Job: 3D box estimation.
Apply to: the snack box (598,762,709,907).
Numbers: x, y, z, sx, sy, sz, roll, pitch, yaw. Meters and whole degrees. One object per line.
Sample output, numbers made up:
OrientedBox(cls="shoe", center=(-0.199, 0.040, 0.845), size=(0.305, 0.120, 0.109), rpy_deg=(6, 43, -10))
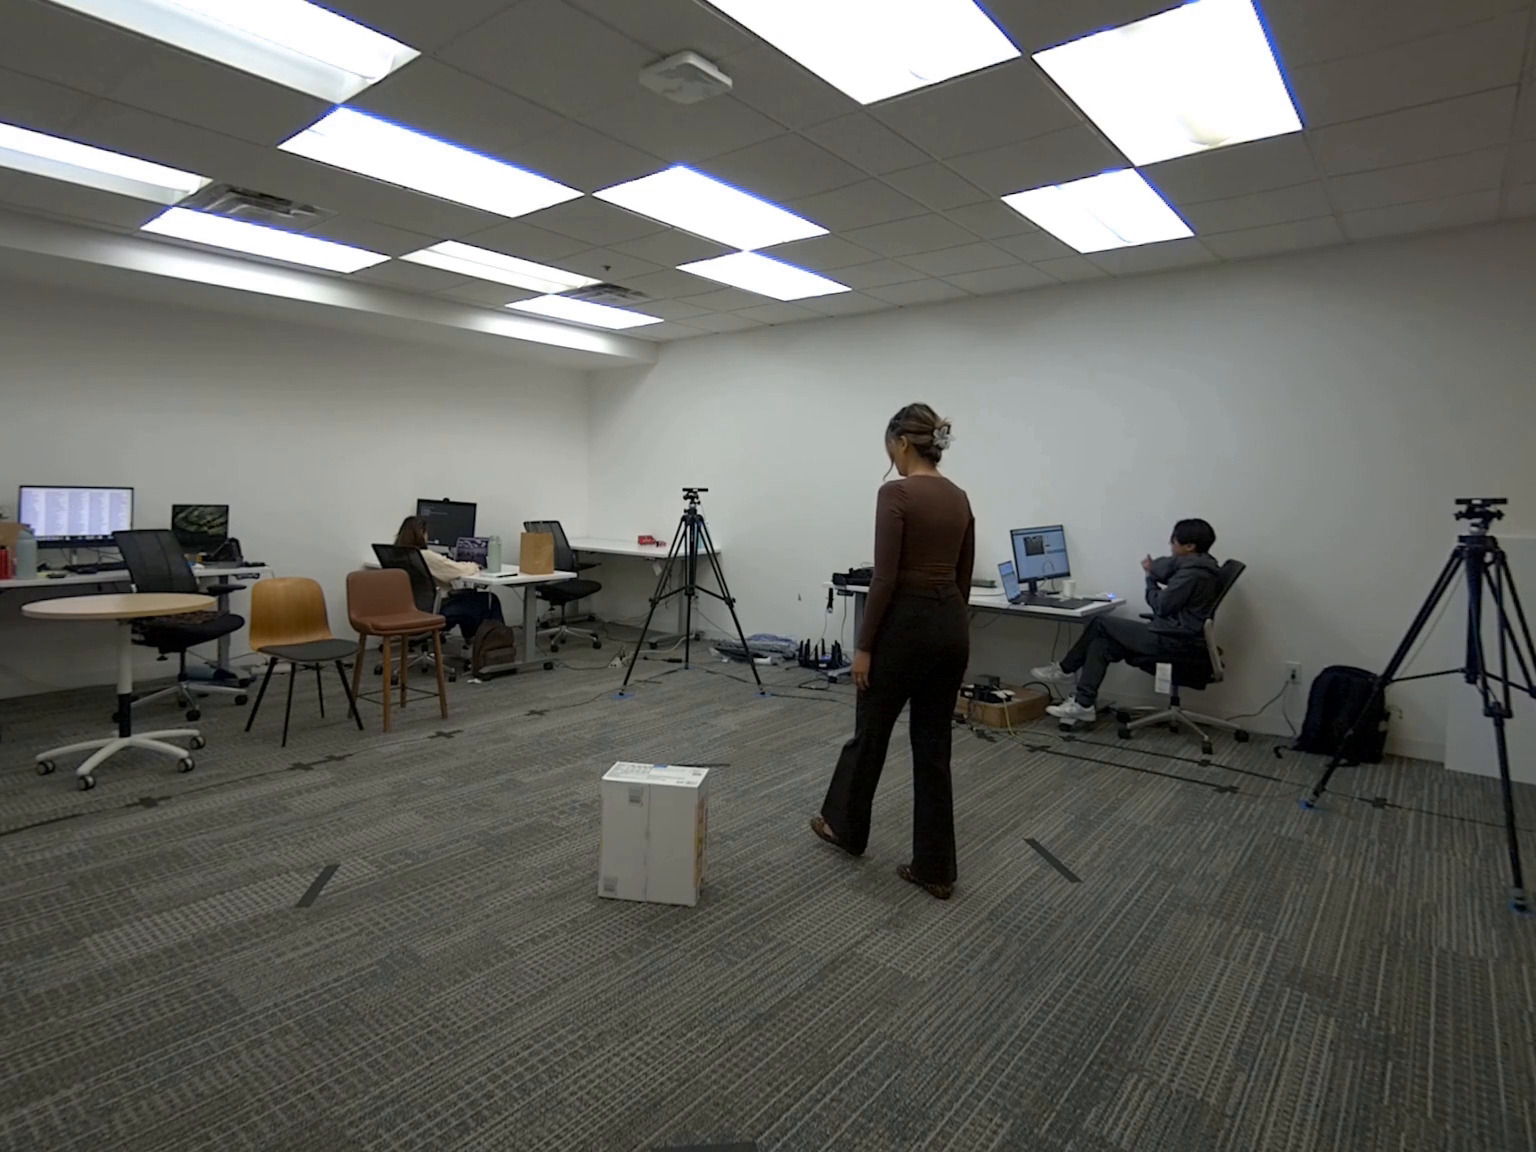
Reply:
OrientedBox(cls="snack box", center=(-0.403, 0.878, 2.940), size=(0.344, 0.404, 0.204), rpy_deg=(2, 3, 9))
